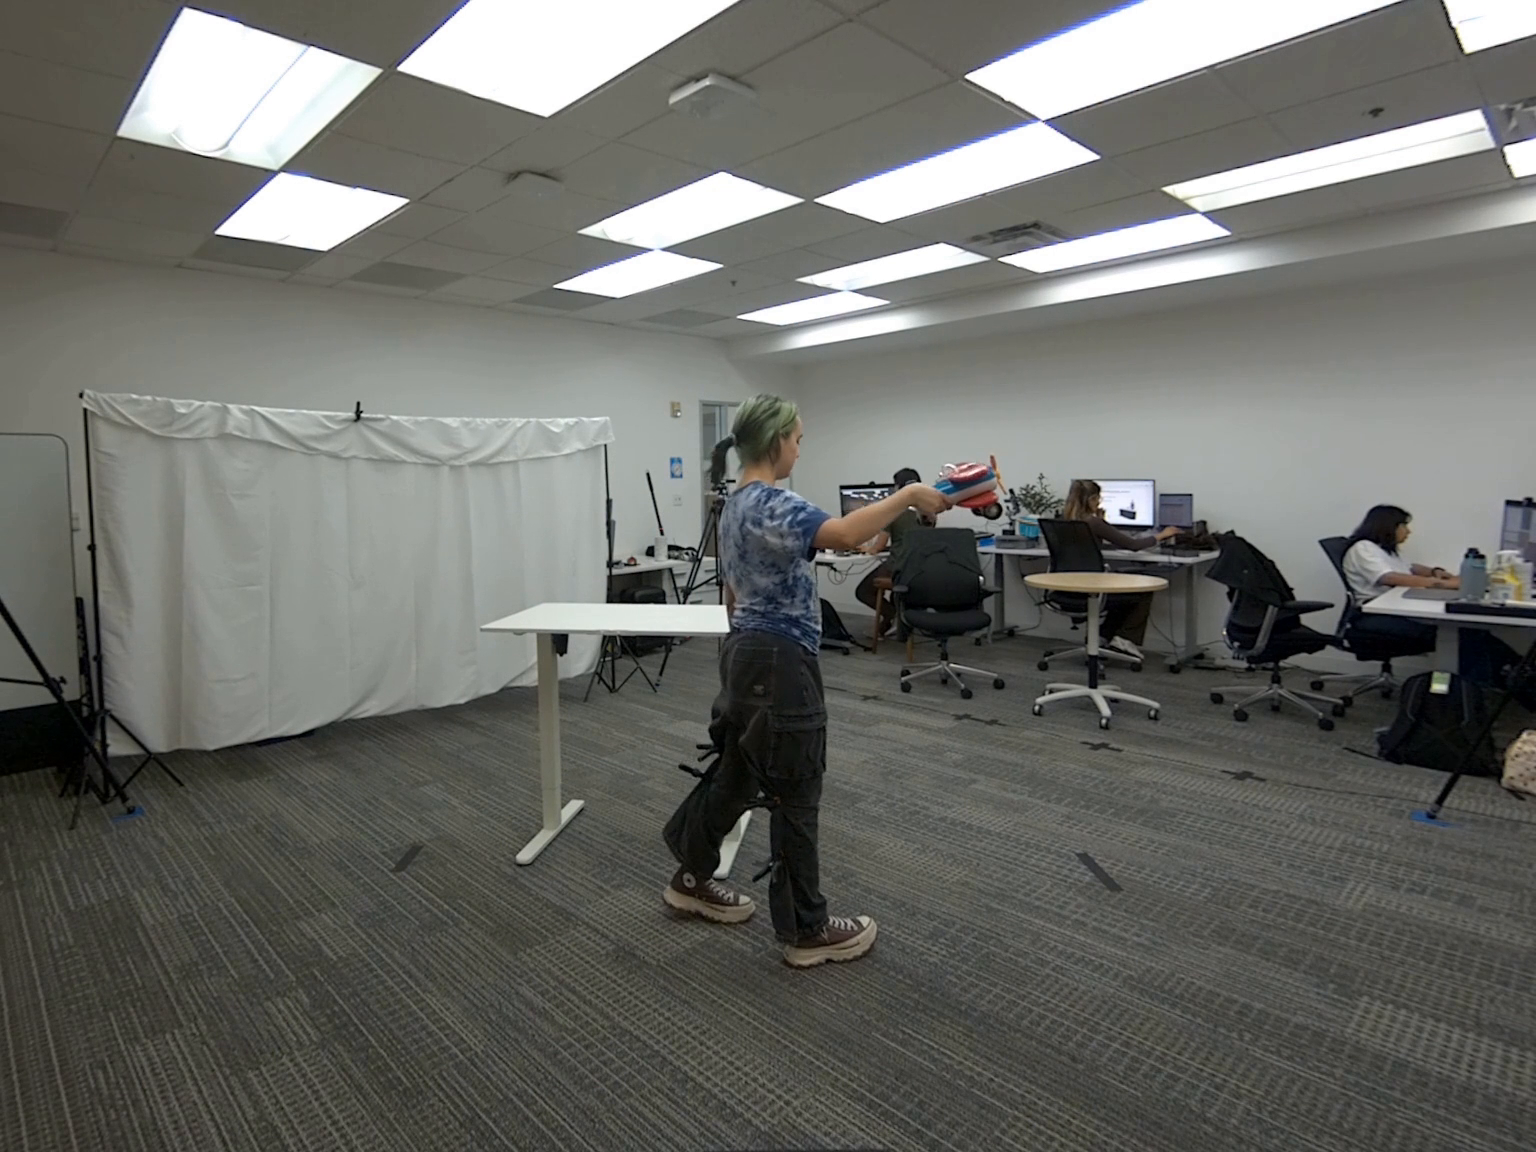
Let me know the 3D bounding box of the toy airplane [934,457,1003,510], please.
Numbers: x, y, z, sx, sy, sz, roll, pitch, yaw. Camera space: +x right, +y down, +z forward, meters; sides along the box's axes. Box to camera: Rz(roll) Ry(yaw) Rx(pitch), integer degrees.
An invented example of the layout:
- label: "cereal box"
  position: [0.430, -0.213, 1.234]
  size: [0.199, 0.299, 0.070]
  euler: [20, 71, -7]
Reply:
- label: "toy airplane"
  position: [0.518, -0.222, 2.330]
  size: [0.254, 0.155, 0.258]
  euler: [-12, 9, -29]
